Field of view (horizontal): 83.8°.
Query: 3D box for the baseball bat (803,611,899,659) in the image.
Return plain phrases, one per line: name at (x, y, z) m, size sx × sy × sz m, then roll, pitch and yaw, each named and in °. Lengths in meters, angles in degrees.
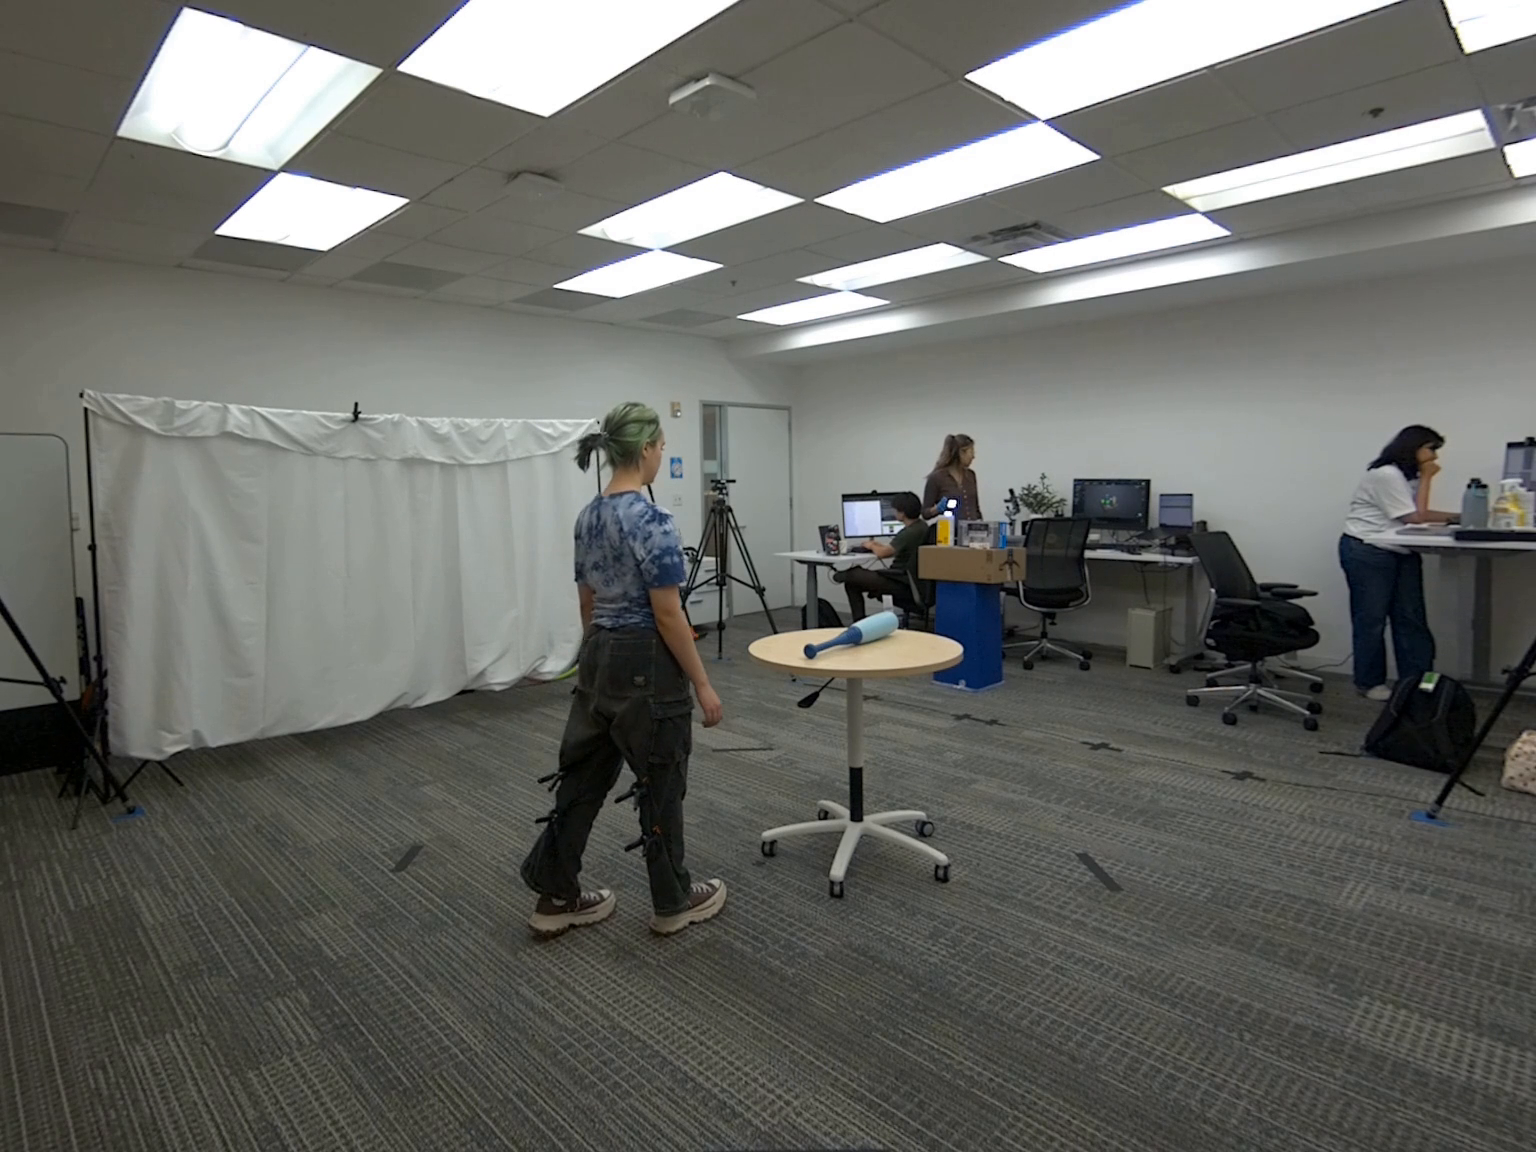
baseball bat at (0.307, 0.222, 3.097) m, size 0.092 × 0.088 × 0.531 m, roll 3°, pitch 11°, yaw 39°
